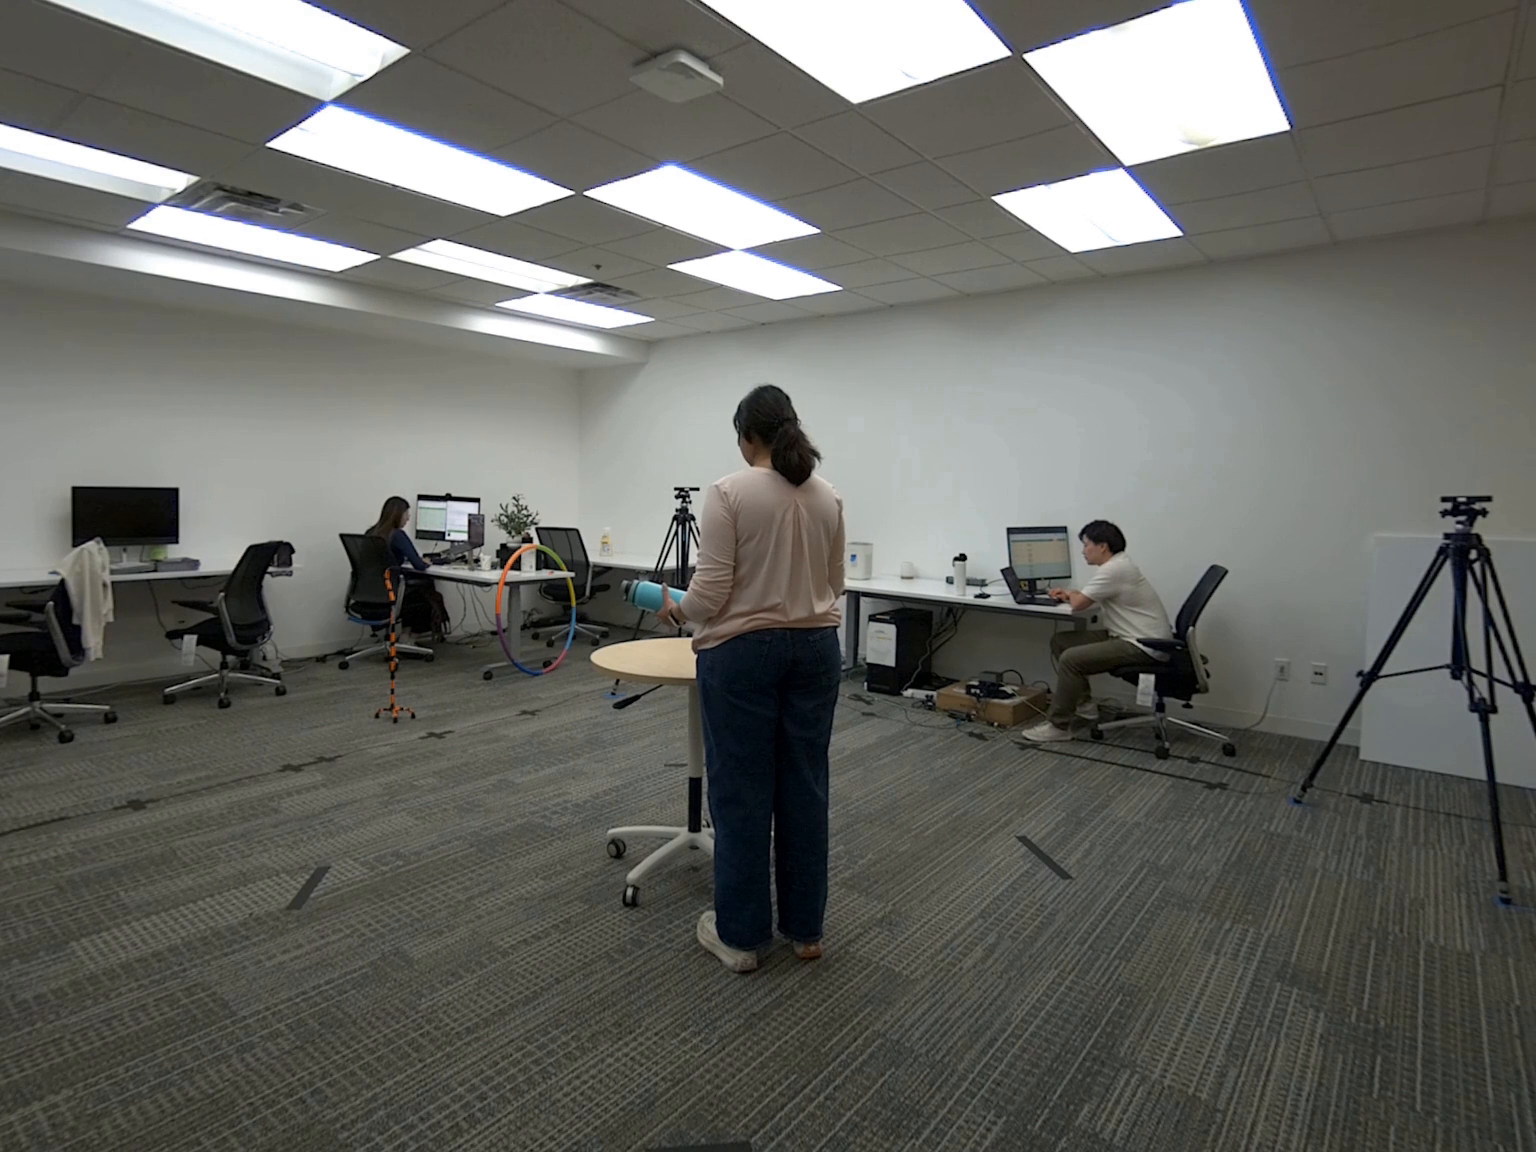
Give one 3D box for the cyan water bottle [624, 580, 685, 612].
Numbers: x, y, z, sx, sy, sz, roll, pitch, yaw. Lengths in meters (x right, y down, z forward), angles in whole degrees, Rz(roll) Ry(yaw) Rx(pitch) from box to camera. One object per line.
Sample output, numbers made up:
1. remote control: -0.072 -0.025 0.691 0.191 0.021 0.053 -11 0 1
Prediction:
1. cyan water bottle: -0.342 0.078 2.705 0.290 0.092 0.091 16 8 17
